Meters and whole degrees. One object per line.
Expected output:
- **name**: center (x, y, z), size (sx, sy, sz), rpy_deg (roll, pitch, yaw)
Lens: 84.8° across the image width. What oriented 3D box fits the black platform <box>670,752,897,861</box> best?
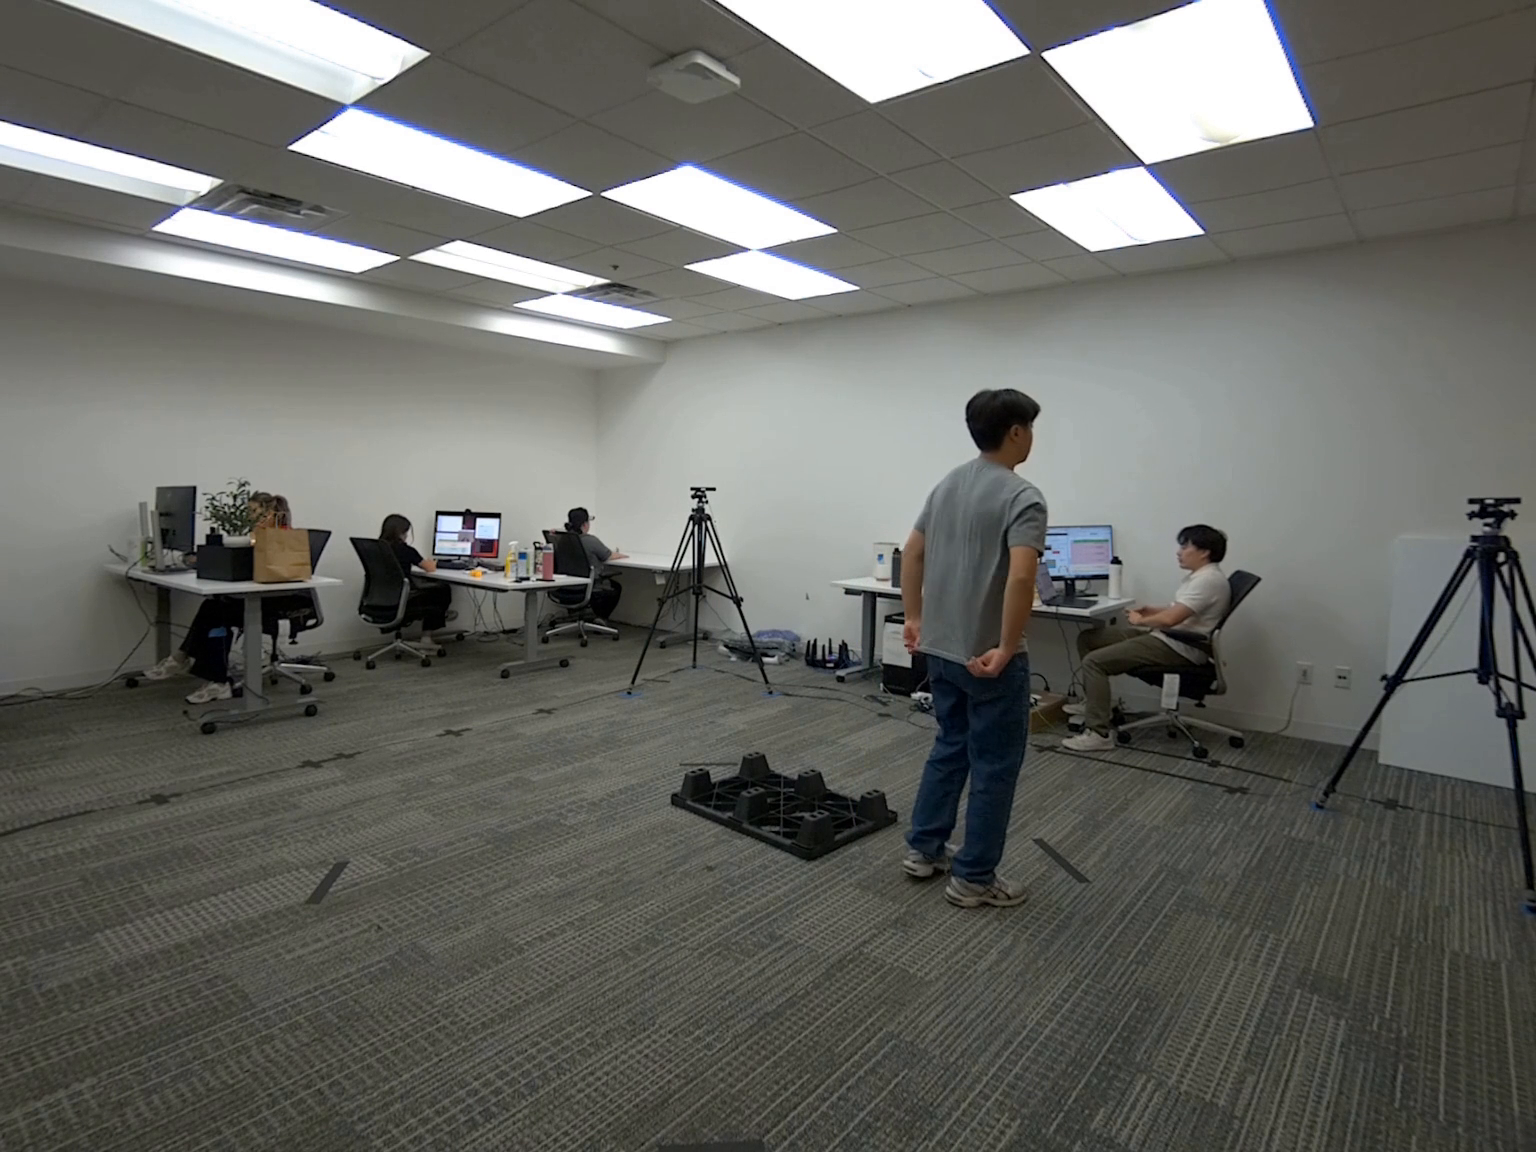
- **black platform**: center (0.047, 0.950, 3.667), size (0.833, 0.143, 0.587), rpy_deg (6, 7, 43)
